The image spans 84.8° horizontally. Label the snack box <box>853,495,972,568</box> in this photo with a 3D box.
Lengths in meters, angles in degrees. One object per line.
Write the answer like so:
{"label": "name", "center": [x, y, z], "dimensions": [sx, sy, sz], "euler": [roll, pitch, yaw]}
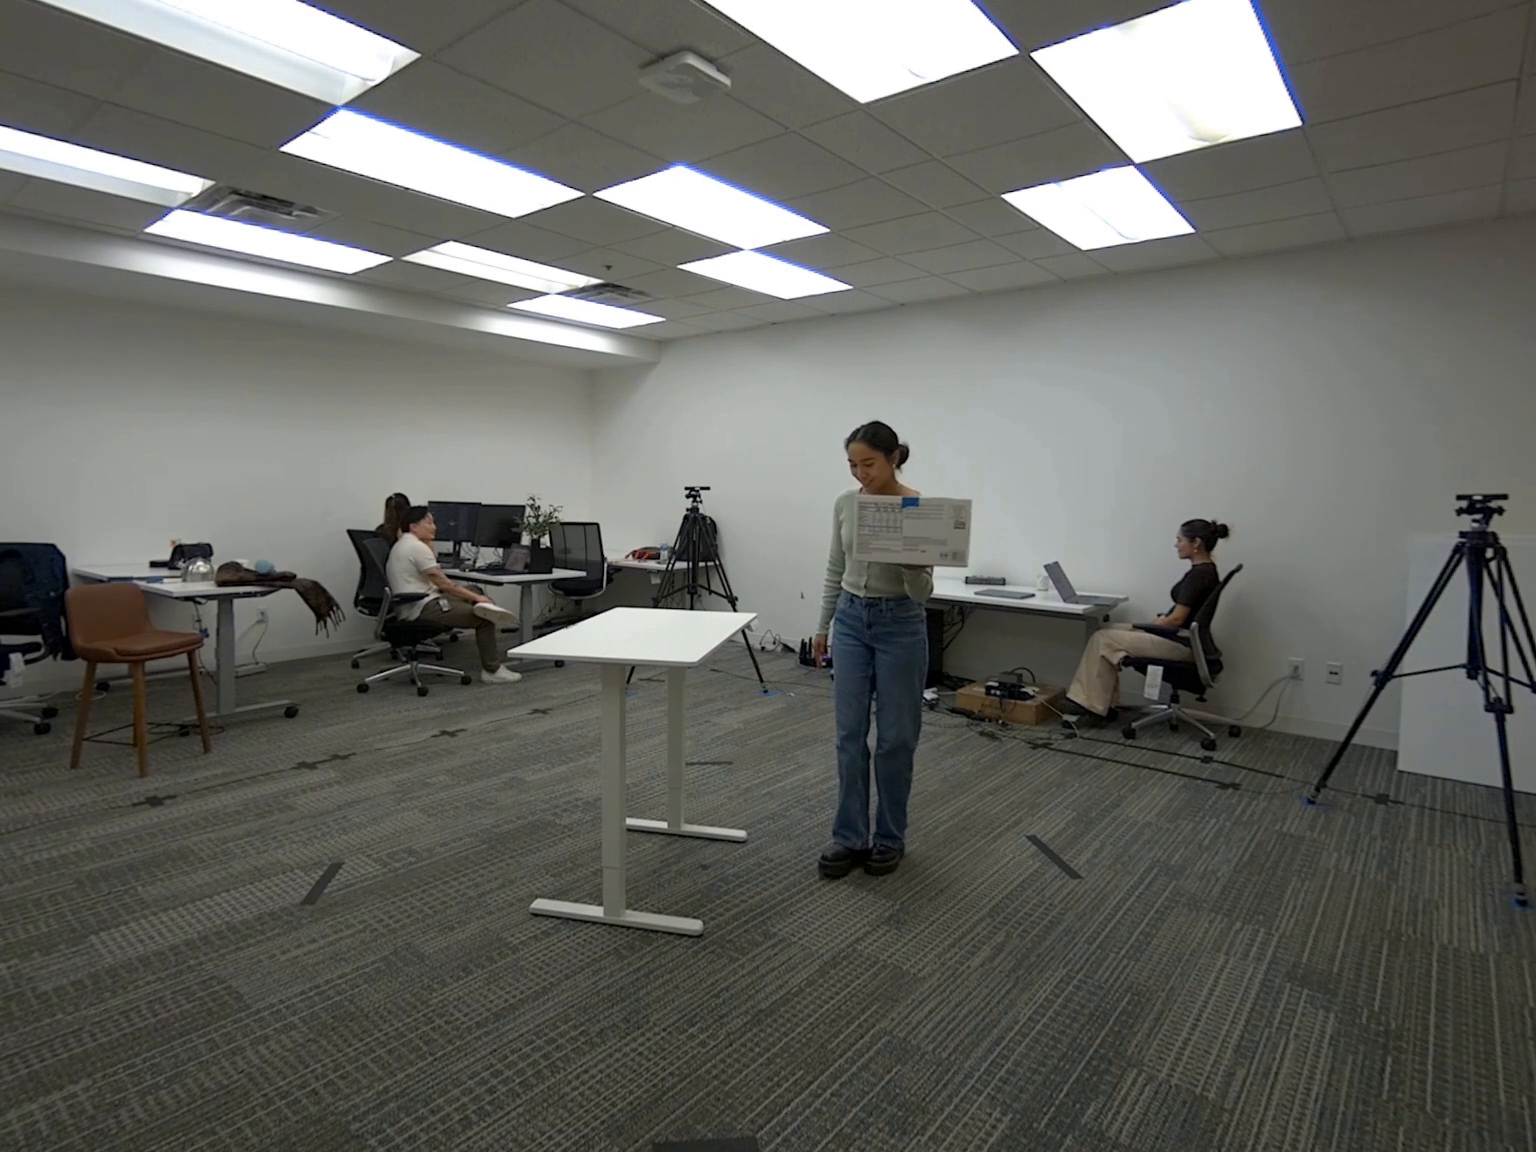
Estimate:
{"label": "snack box", "center": [0.453, -0.155, 2.722], "dimensions": [0.345, 0.205, 0.401], "euler": [3, 5, 11]}
